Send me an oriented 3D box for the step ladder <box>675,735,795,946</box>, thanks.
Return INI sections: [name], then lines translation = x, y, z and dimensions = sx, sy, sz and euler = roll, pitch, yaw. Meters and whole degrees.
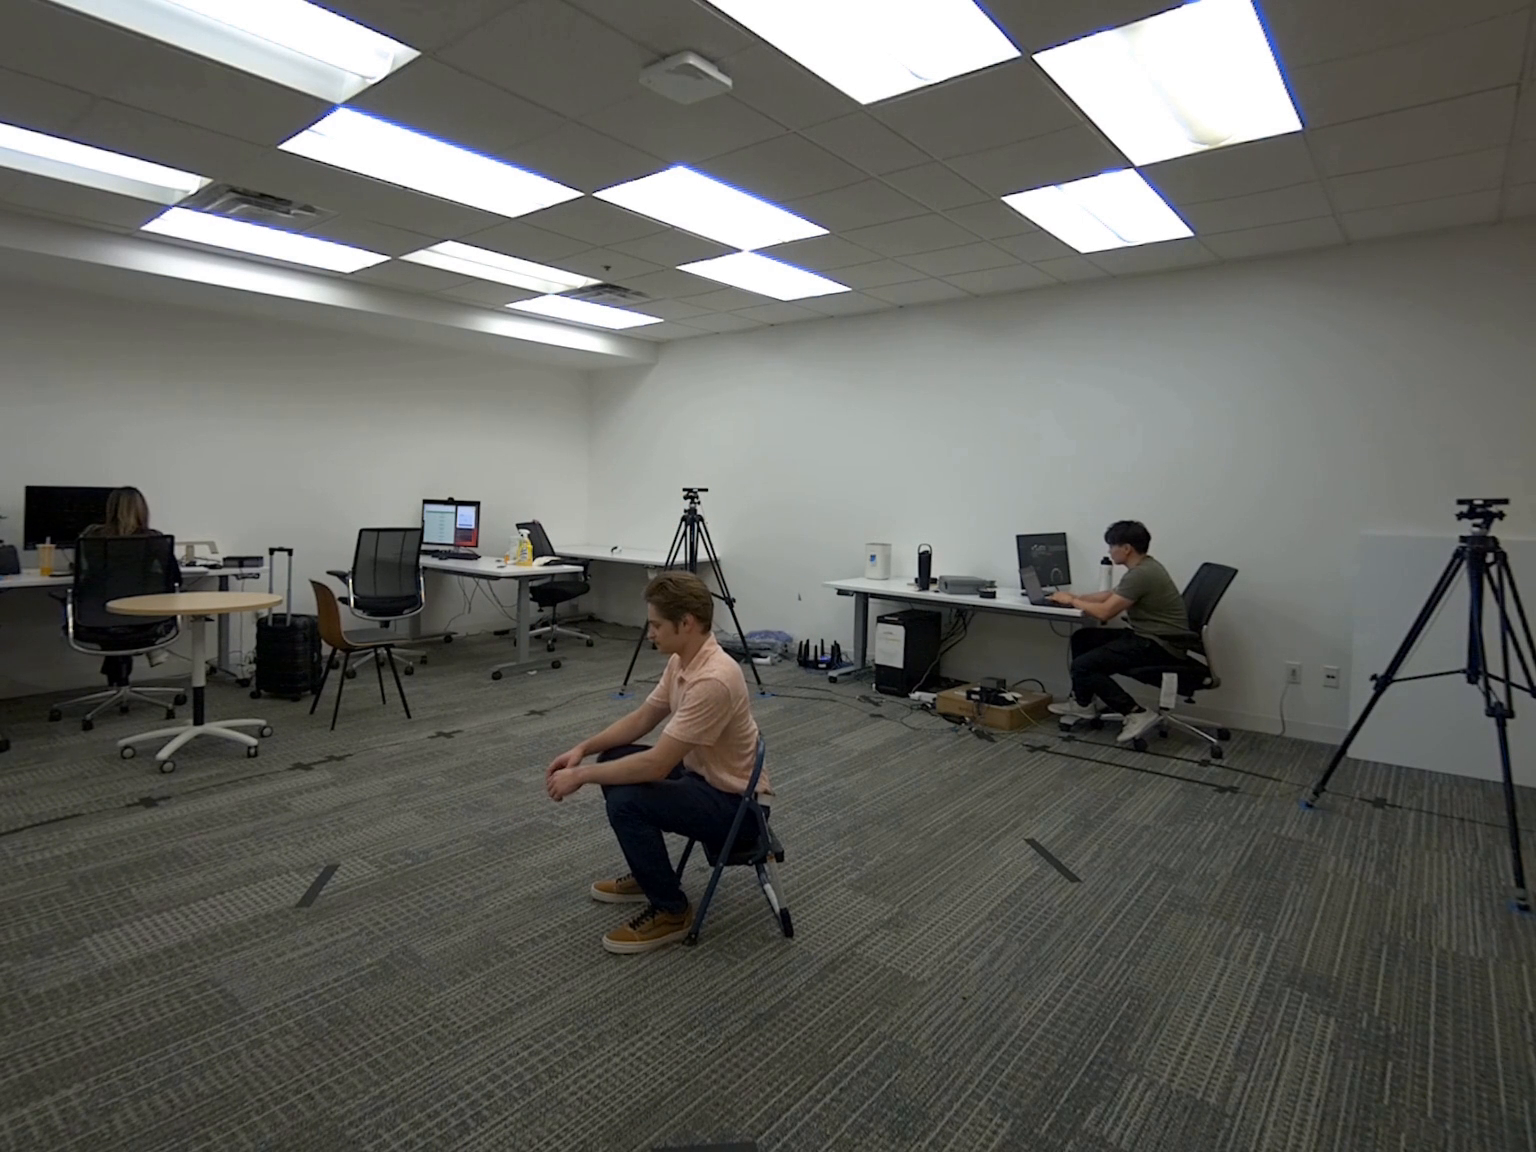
[step ladder]
translation = -0.129, 0.809, 2.797
dimensions = 0.345, 0.604, 0.437
euler = 0, 4, -13
